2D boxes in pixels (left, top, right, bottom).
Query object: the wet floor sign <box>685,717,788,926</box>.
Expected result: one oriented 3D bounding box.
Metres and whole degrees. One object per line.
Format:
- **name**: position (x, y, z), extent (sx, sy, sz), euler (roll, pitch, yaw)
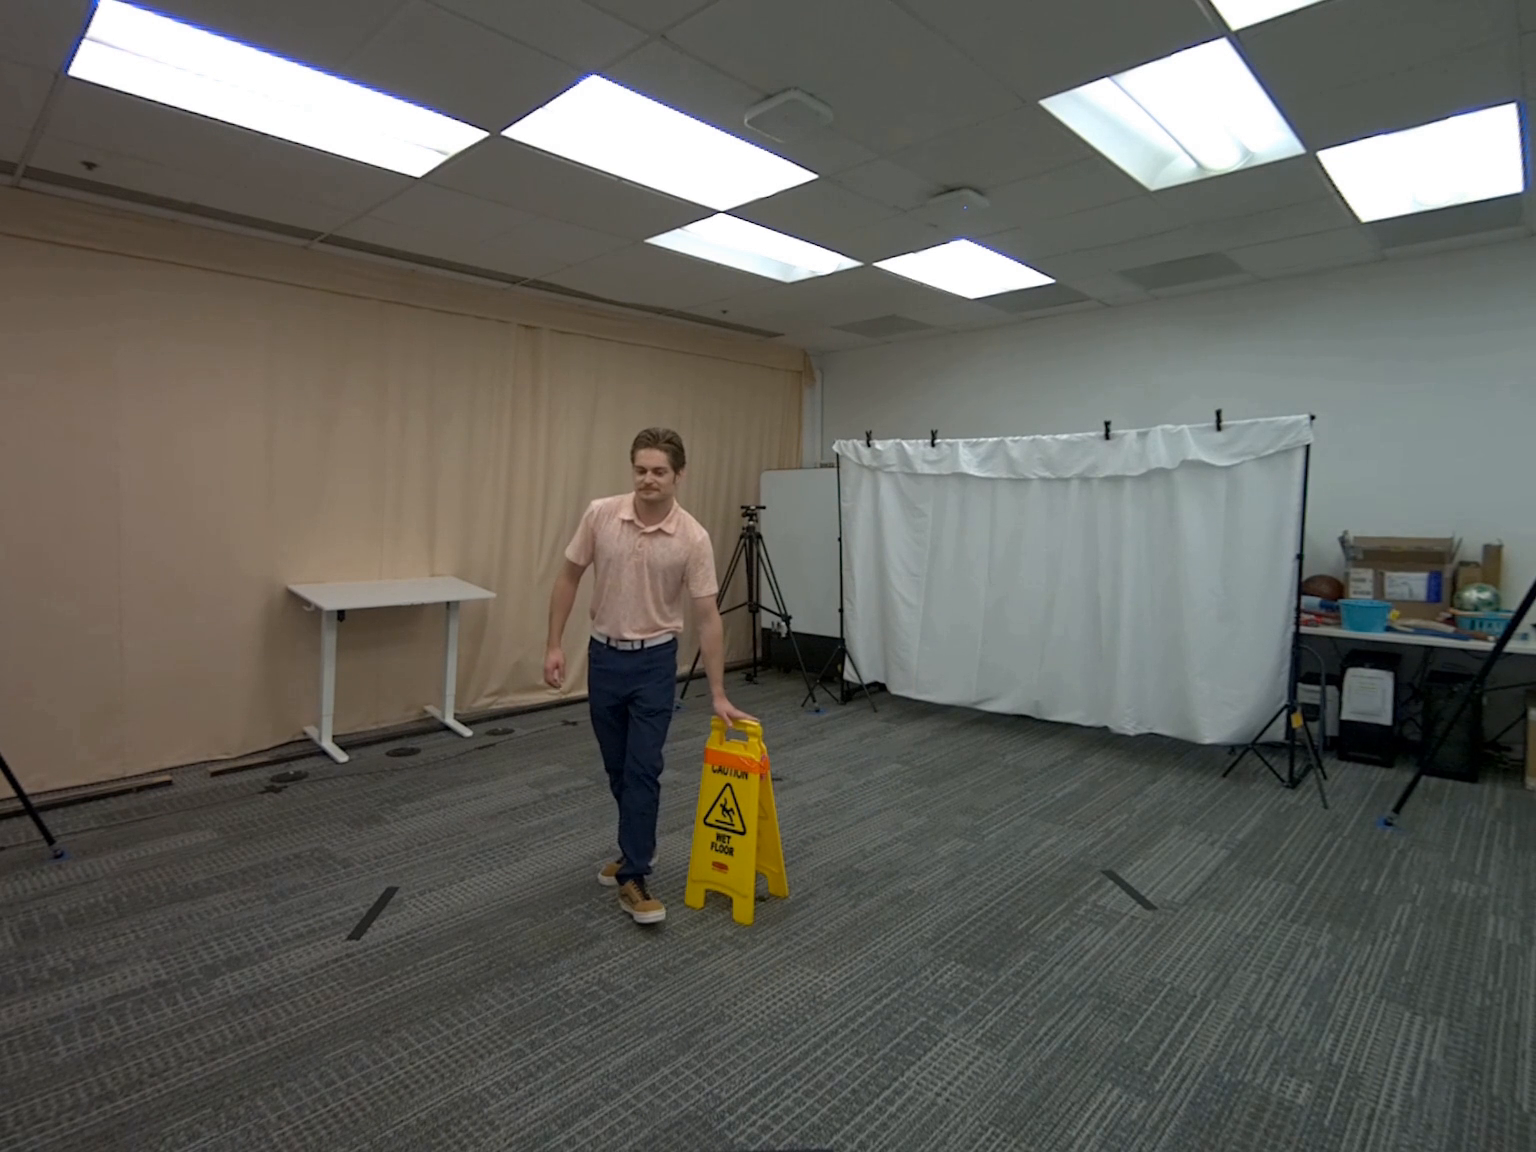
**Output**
- **wet floor sign**: position (-0.102, 0.824, 2.952), extent (0.291, 0.645, 0.281), euler (3, 4, 32)
